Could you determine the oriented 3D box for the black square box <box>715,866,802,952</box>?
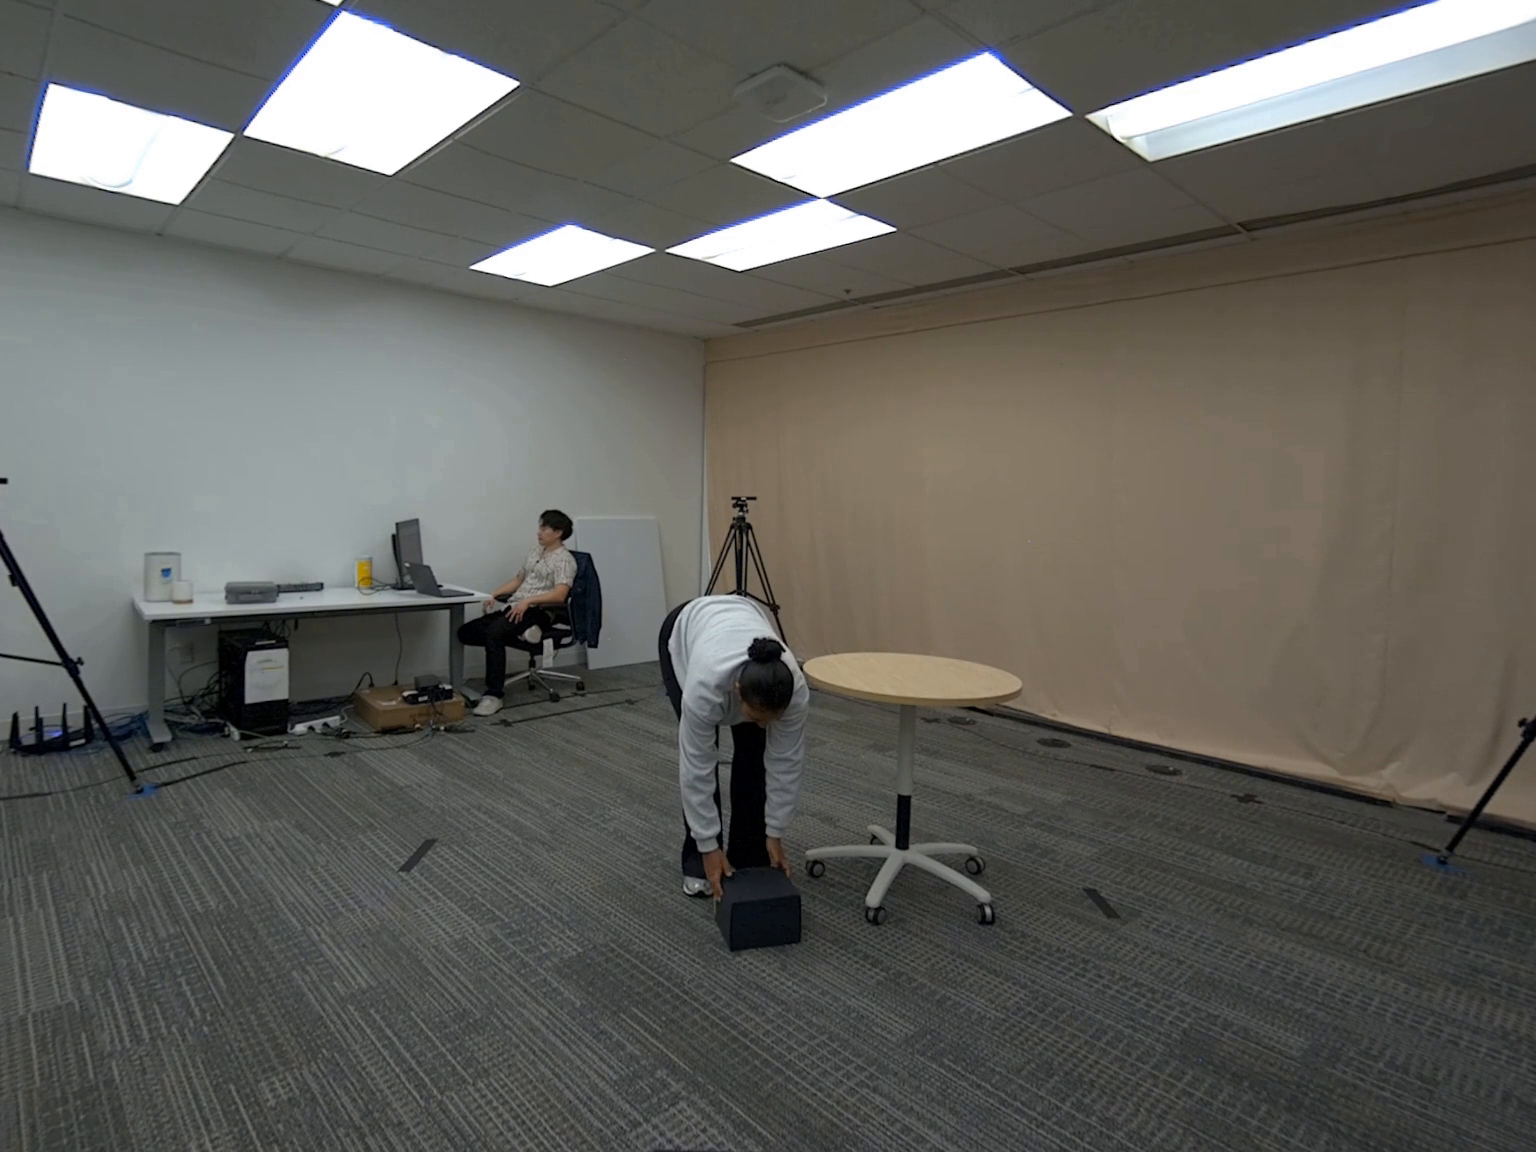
[{"bbox_3d":[-0.045,1.052,2.702,0.225,0.155,0.221,0,7,-17],"label":"black square box"}]
